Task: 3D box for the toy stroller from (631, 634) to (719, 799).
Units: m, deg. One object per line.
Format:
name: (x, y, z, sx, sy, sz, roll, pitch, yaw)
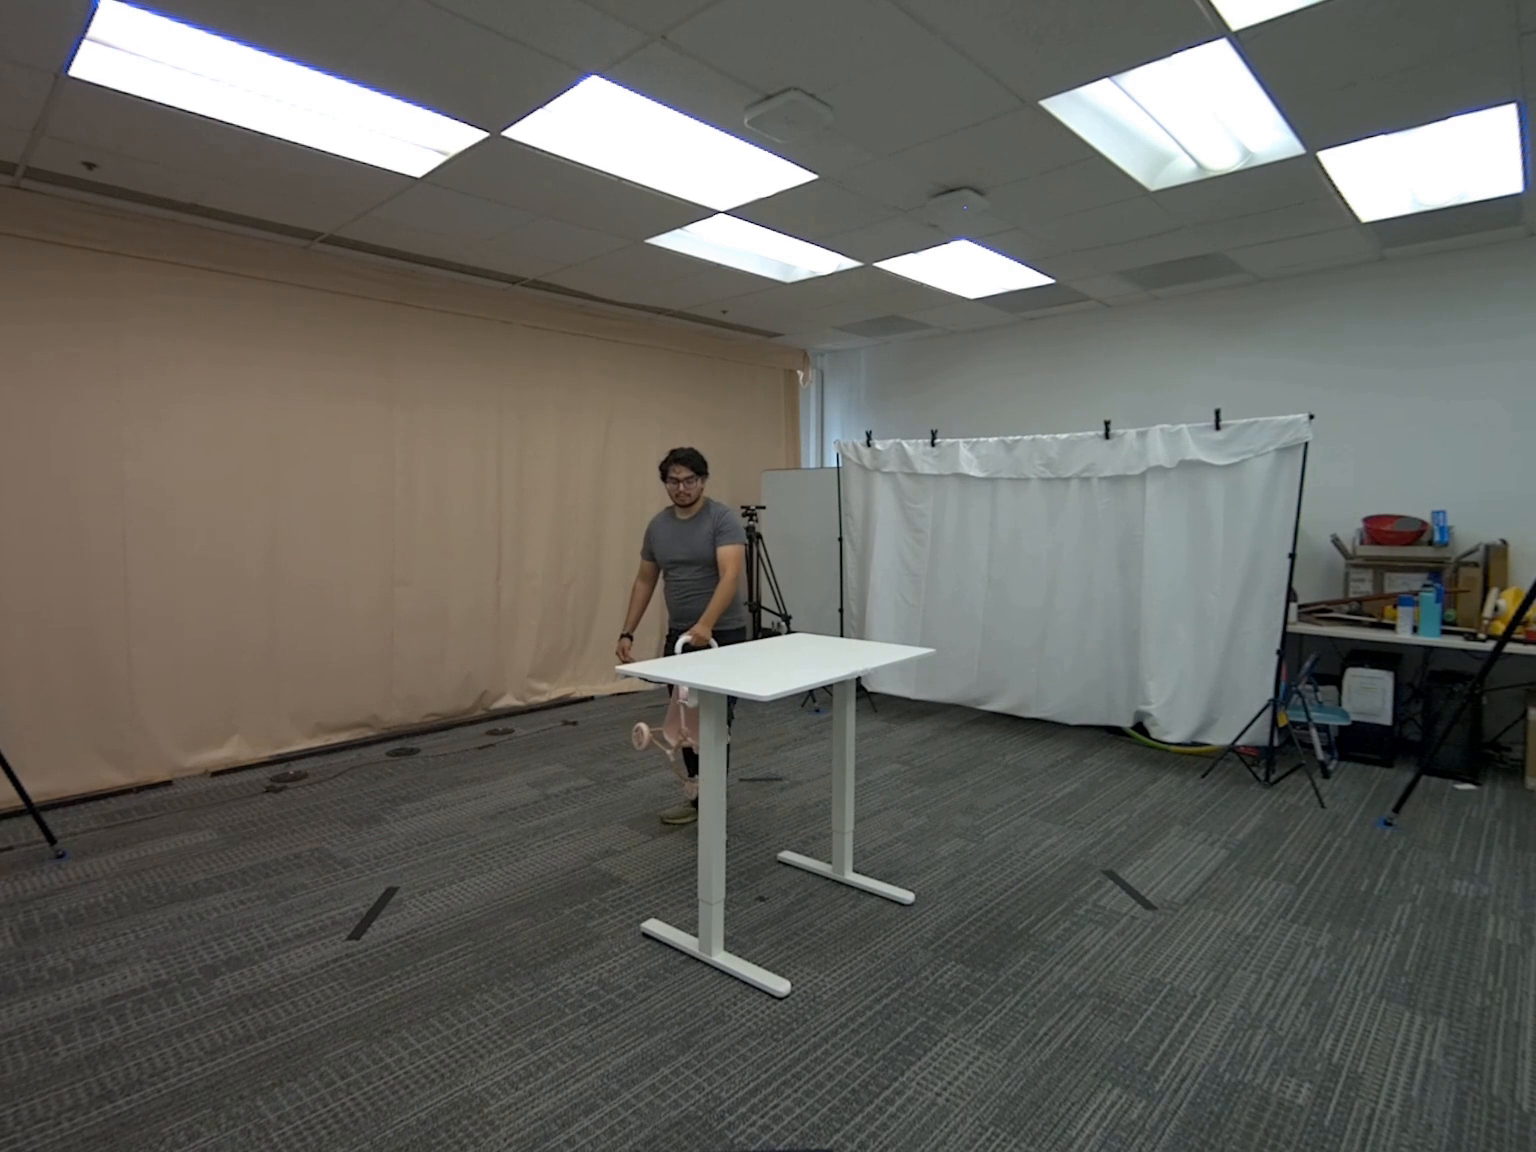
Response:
toy stroller: (-0.283, 0.547, 3.216, 0.272, 0.533, 0.354, 7, 23, -38)
